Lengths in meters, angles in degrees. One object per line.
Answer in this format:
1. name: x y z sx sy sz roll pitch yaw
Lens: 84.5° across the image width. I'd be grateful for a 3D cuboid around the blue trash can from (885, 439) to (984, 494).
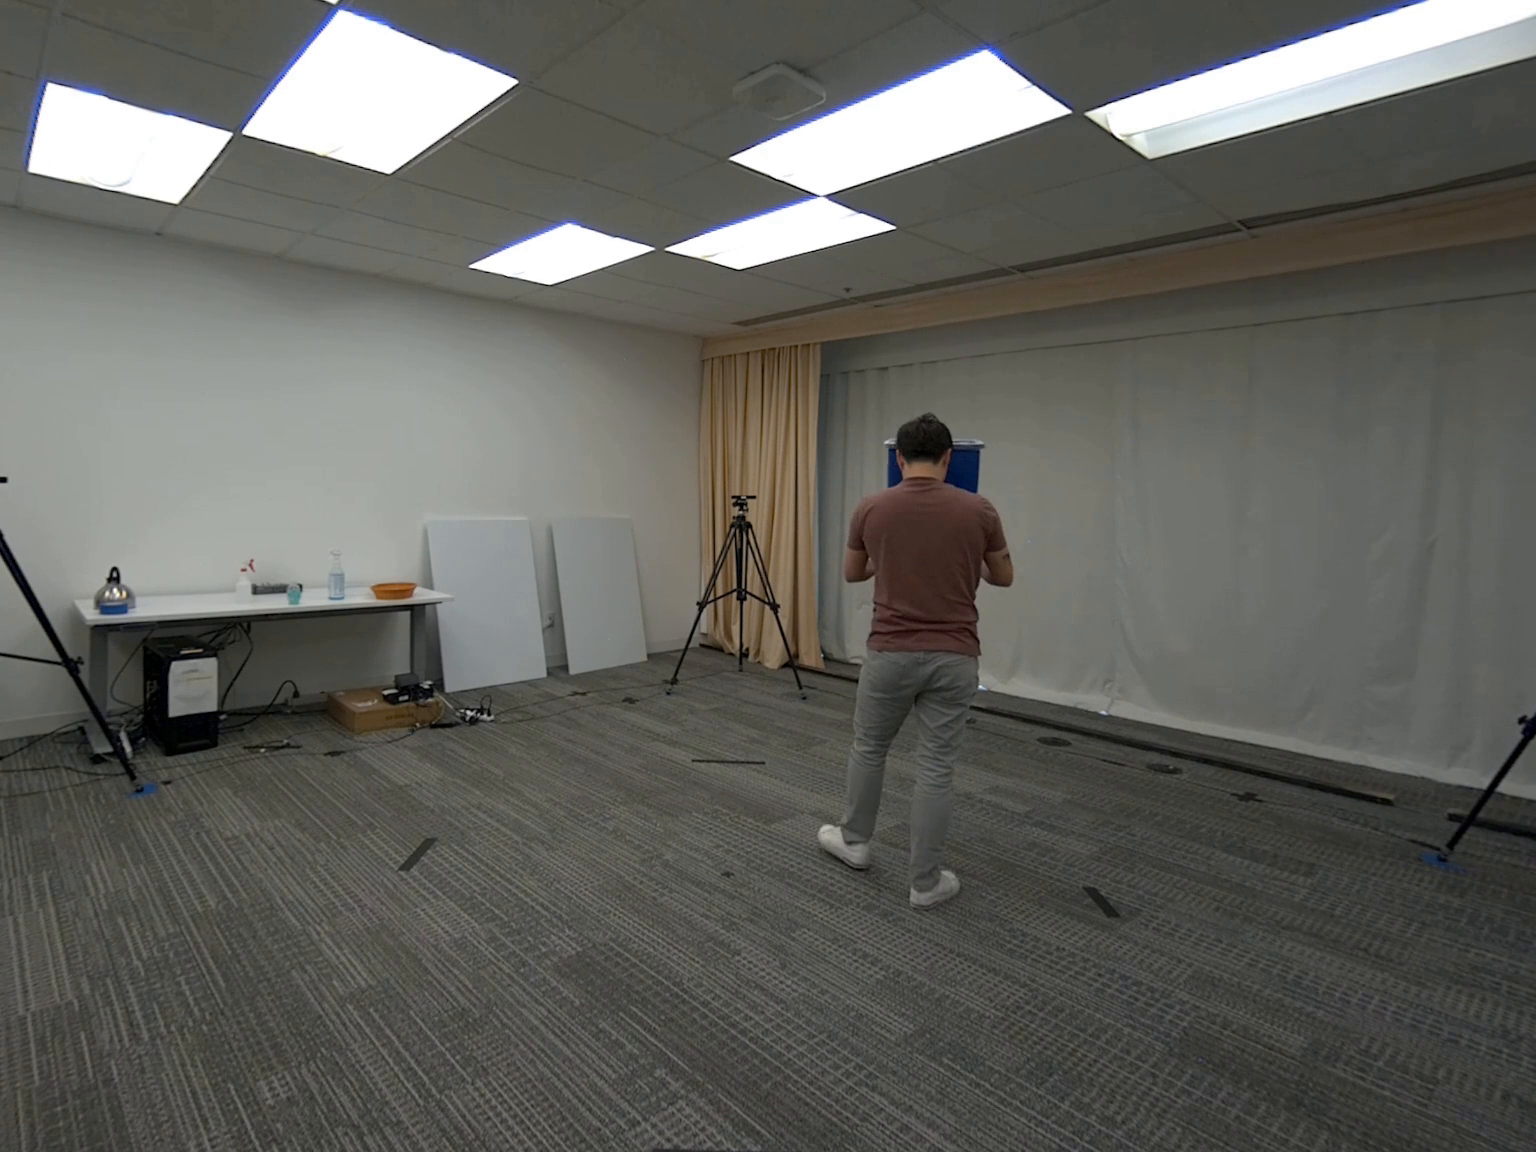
1. blue trash can: 0.646 -0.181 3.351 0.382 0.708 0.373 2 11 11
